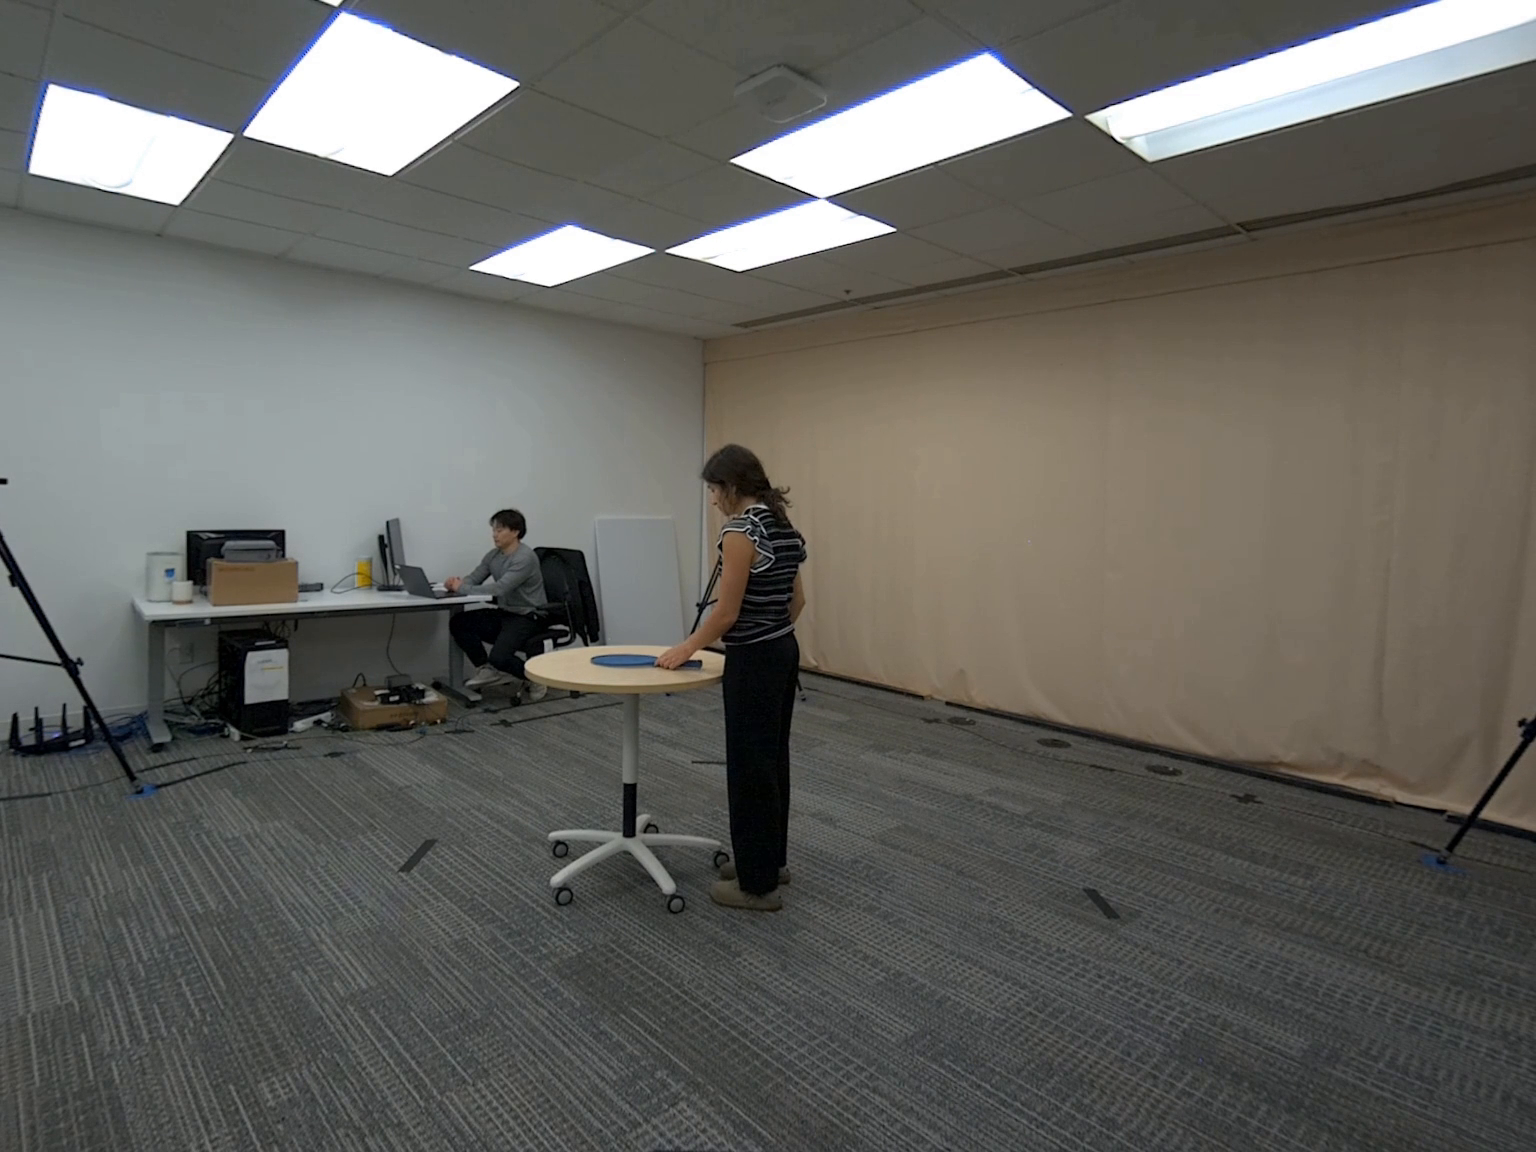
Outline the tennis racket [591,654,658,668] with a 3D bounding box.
[{"bbox_3d":[-0.446,0.310,3.057,0.439,0.032,0.211,1,5,18],"label":"tennis racket"}]
